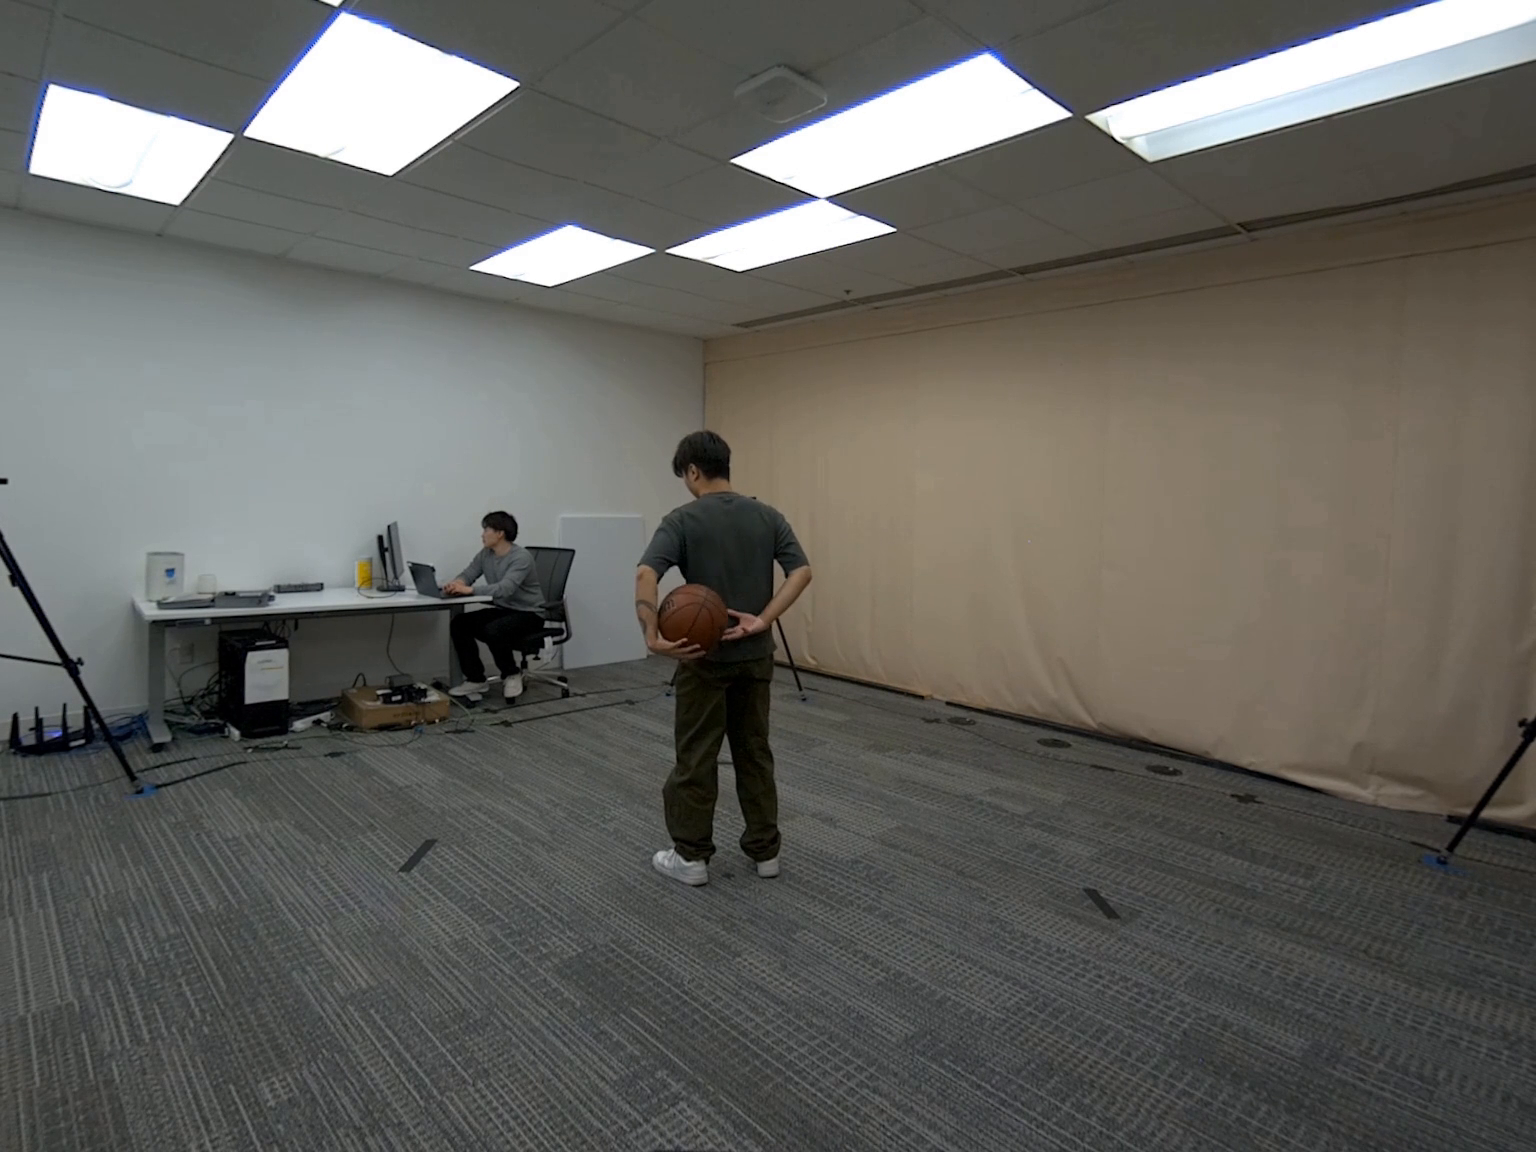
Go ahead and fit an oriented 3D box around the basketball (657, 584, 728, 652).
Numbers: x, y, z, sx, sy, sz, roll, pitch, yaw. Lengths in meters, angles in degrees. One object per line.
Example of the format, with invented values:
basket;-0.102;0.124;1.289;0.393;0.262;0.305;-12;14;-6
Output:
basketball;-0.262;0.154;2.857;0.236;0.235;0.237;1;4;-1
